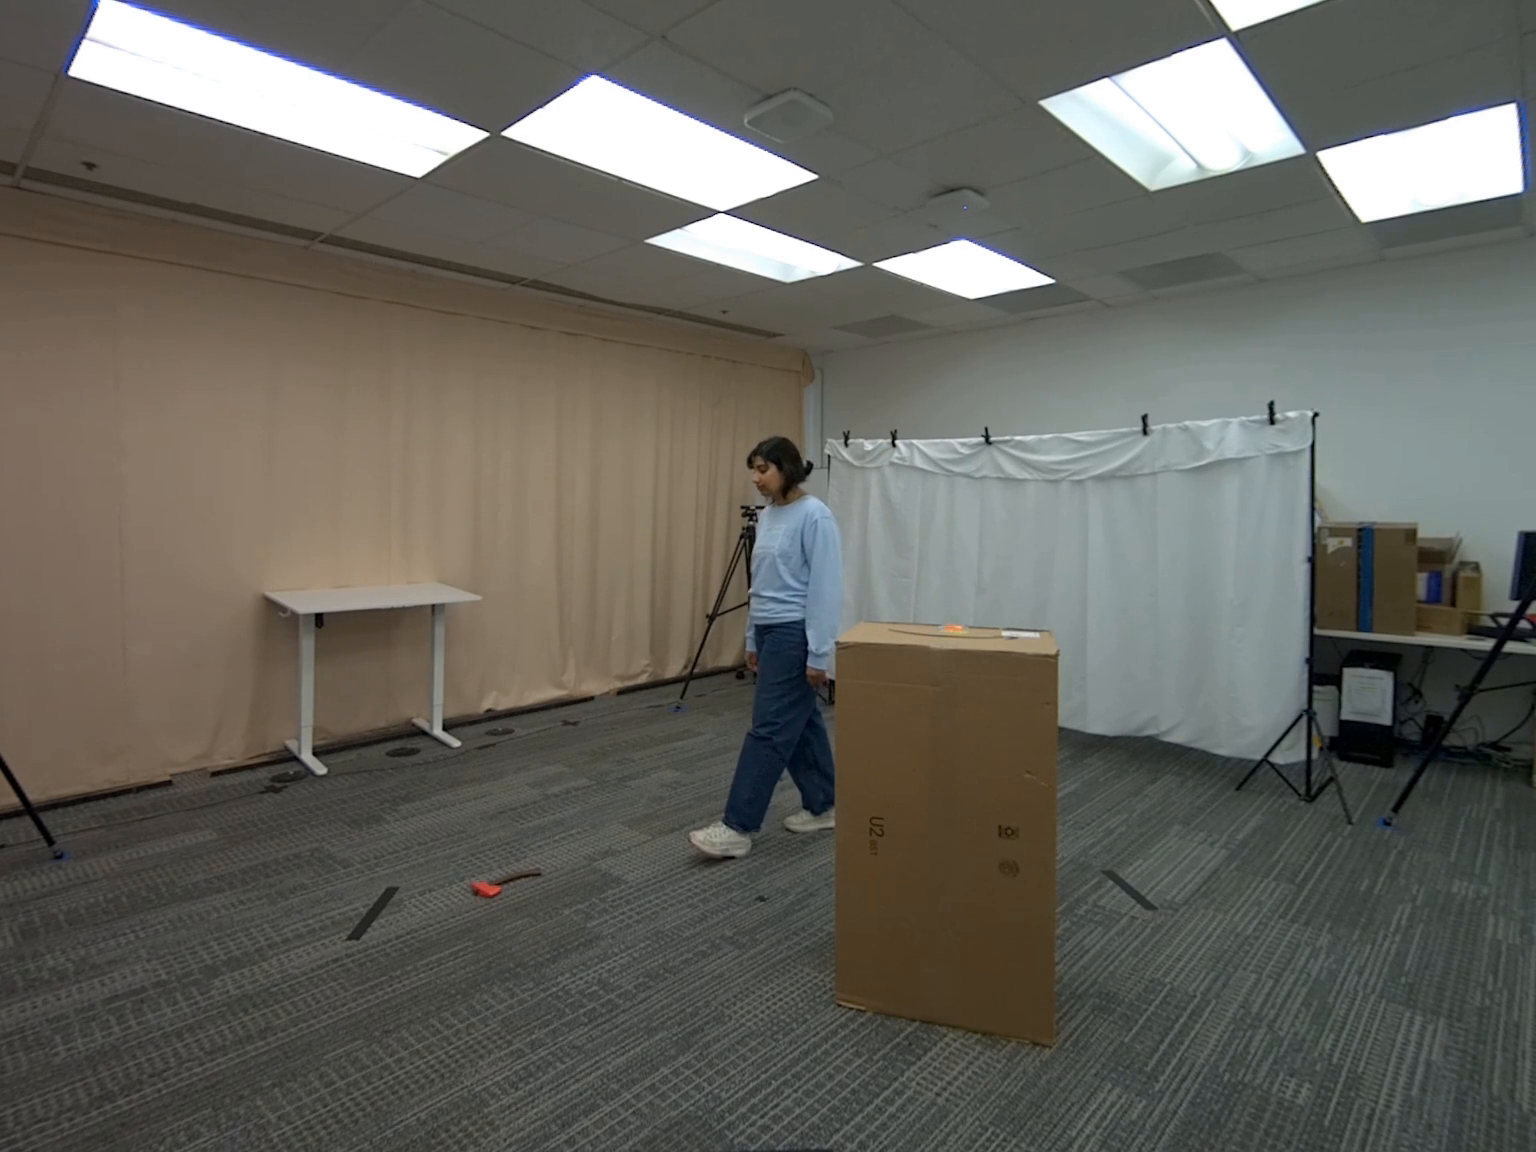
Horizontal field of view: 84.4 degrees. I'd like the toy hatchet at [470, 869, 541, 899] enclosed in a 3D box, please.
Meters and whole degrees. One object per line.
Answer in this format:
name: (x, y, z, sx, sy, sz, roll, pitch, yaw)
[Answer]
toy hatchet: (-0.957, 1.138, 3.099, 0.262, 0.029, 0.135, -1, 2, -31)
